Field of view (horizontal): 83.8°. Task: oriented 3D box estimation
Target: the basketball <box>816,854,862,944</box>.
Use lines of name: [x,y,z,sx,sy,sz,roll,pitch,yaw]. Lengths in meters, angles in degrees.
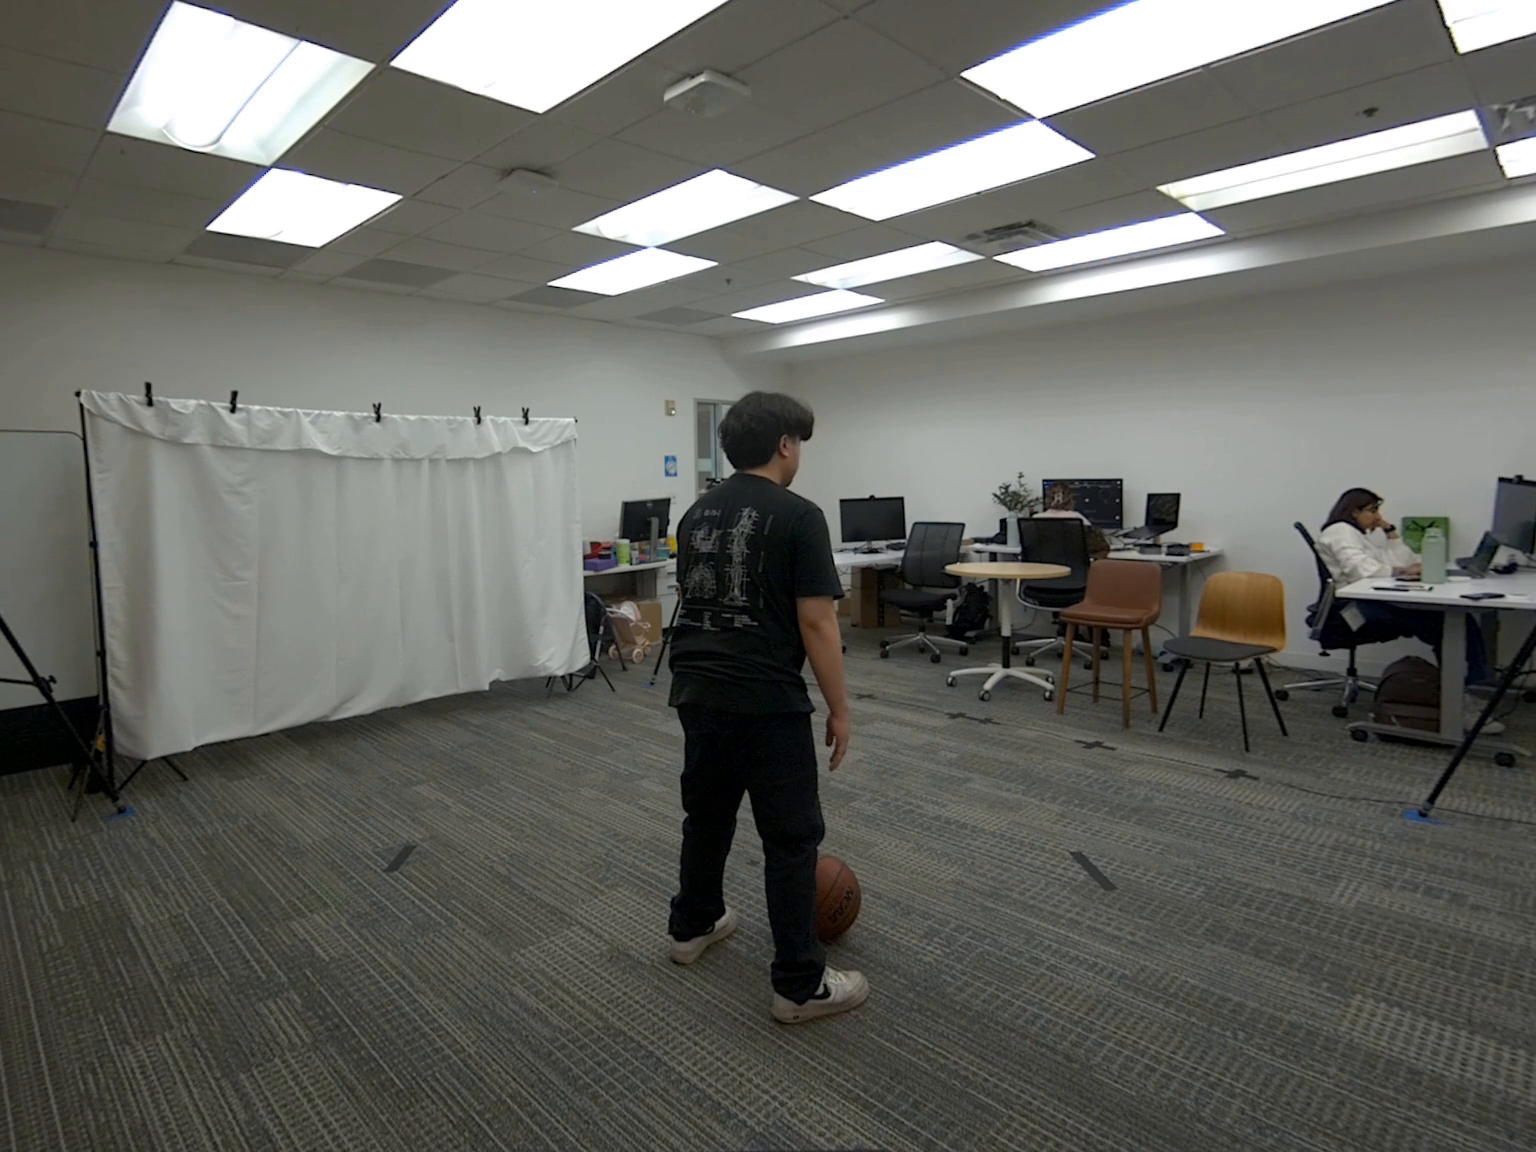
basketball: [0.167,0.975,2.610,0.236,0.235,0.237,-1,5,-2]
